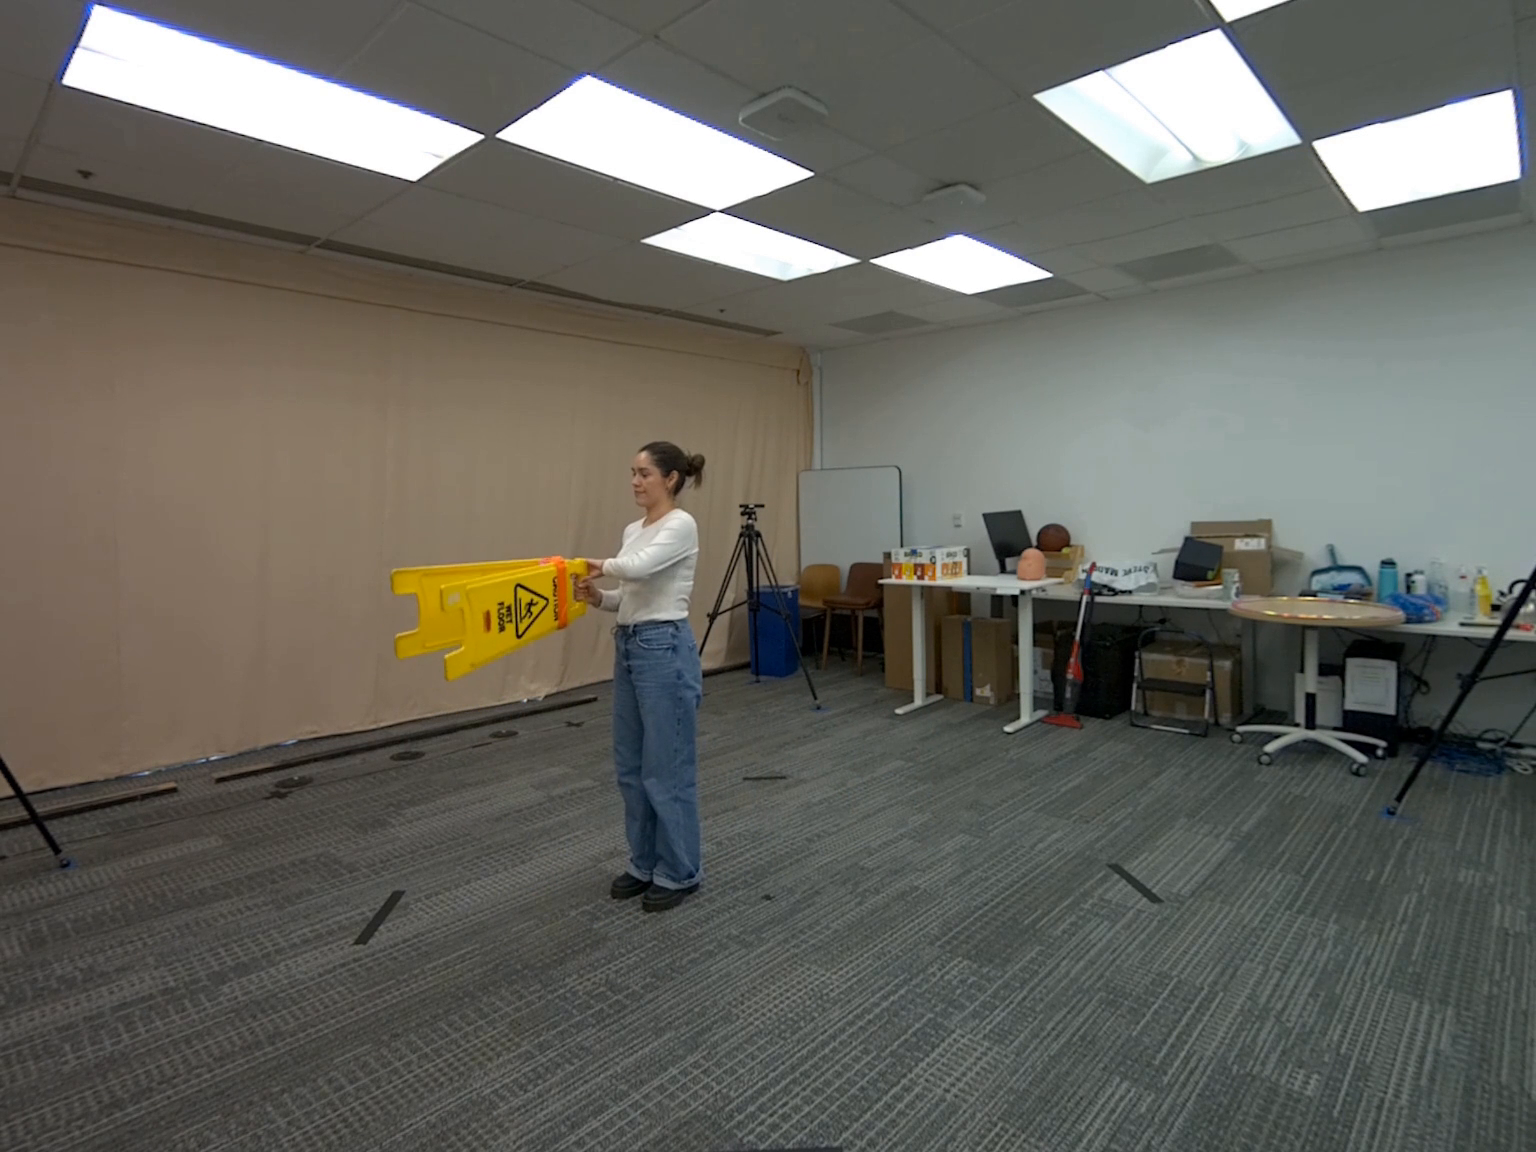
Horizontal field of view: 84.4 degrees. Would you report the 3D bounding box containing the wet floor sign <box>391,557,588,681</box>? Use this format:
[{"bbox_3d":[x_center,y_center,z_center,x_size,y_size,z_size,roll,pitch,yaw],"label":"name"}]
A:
[{"bbox_3d":[-0.827,0.091,2.691,0.300,0.280,0.629,12,17,37],"label":"wet floor sign"}]
